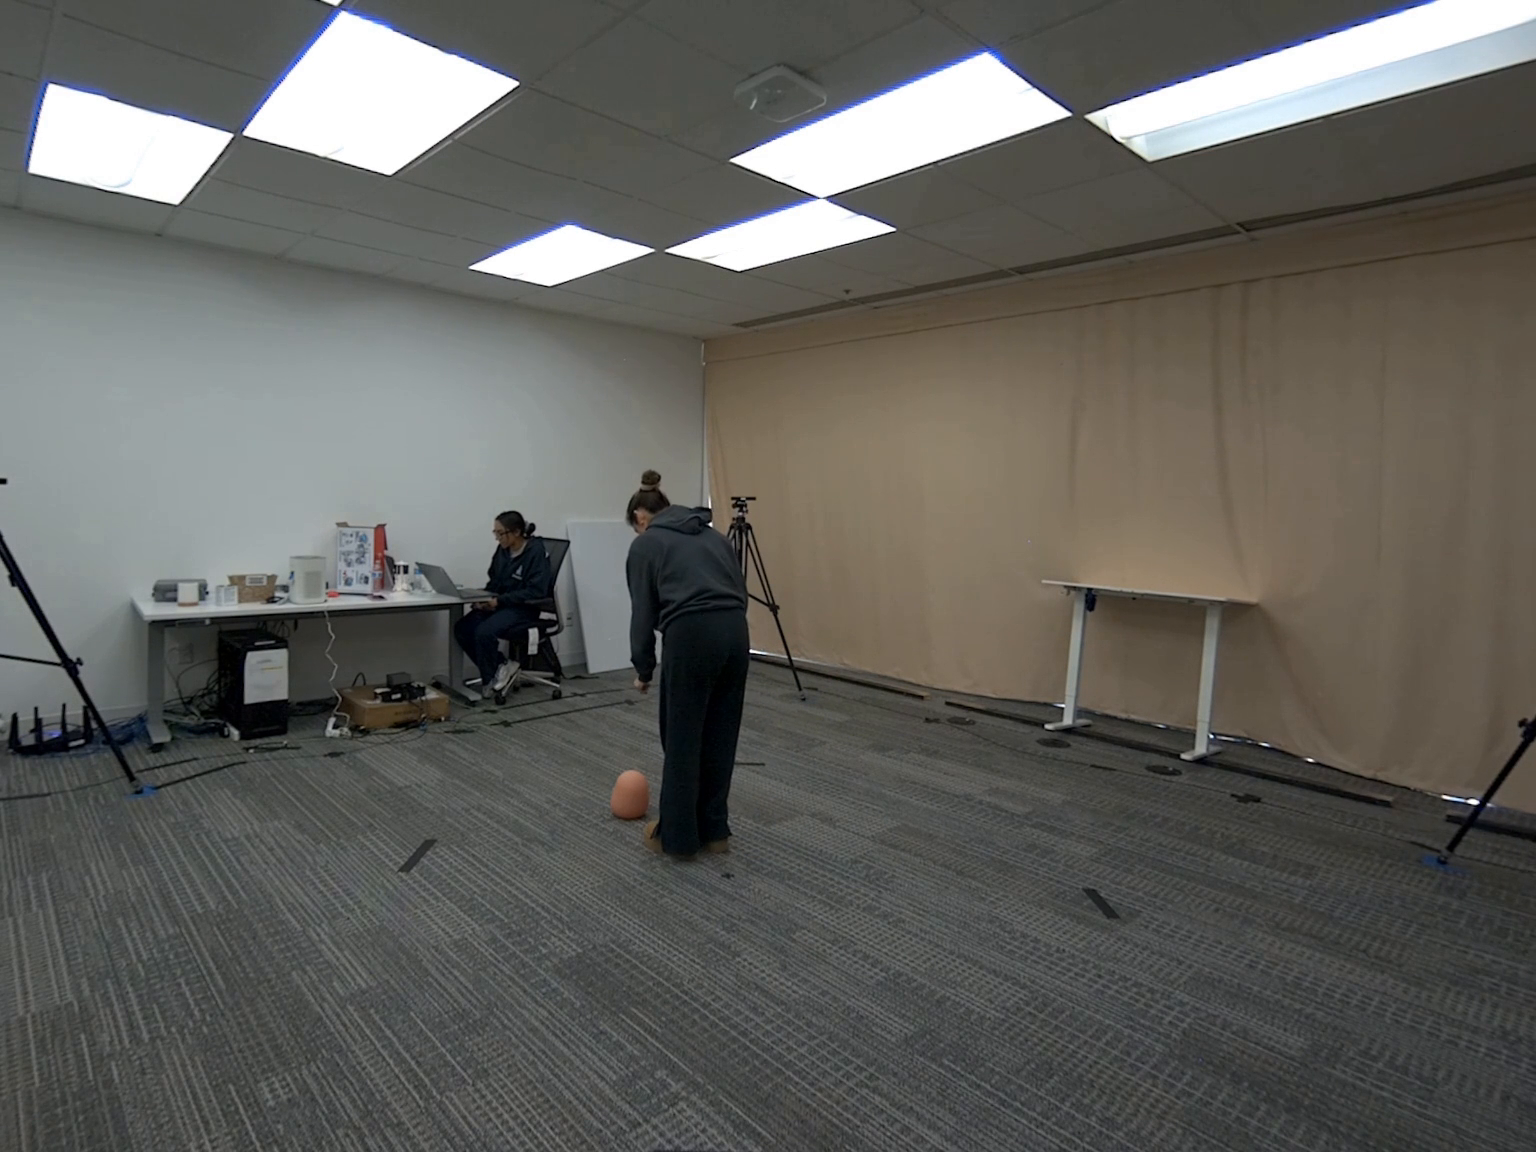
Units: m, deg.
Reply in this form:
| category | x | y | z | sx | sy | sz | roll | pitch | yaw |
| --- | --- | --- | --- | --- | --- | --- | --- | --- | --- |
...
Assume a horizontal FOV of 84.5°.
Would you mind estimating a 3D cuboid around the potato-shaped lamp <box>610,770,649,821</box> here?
| category | x | y | z | sx | sy | sz | roll | pitch | yaw |
| --- | --- | --- | --- | --- | --- | --- | --- | --- | --- |
| potato-shaped lamp | -0.617 | 0.949 | 3.678 | 0.161 | 0.198 | 0.175 | 0 | 3 | -34 |
